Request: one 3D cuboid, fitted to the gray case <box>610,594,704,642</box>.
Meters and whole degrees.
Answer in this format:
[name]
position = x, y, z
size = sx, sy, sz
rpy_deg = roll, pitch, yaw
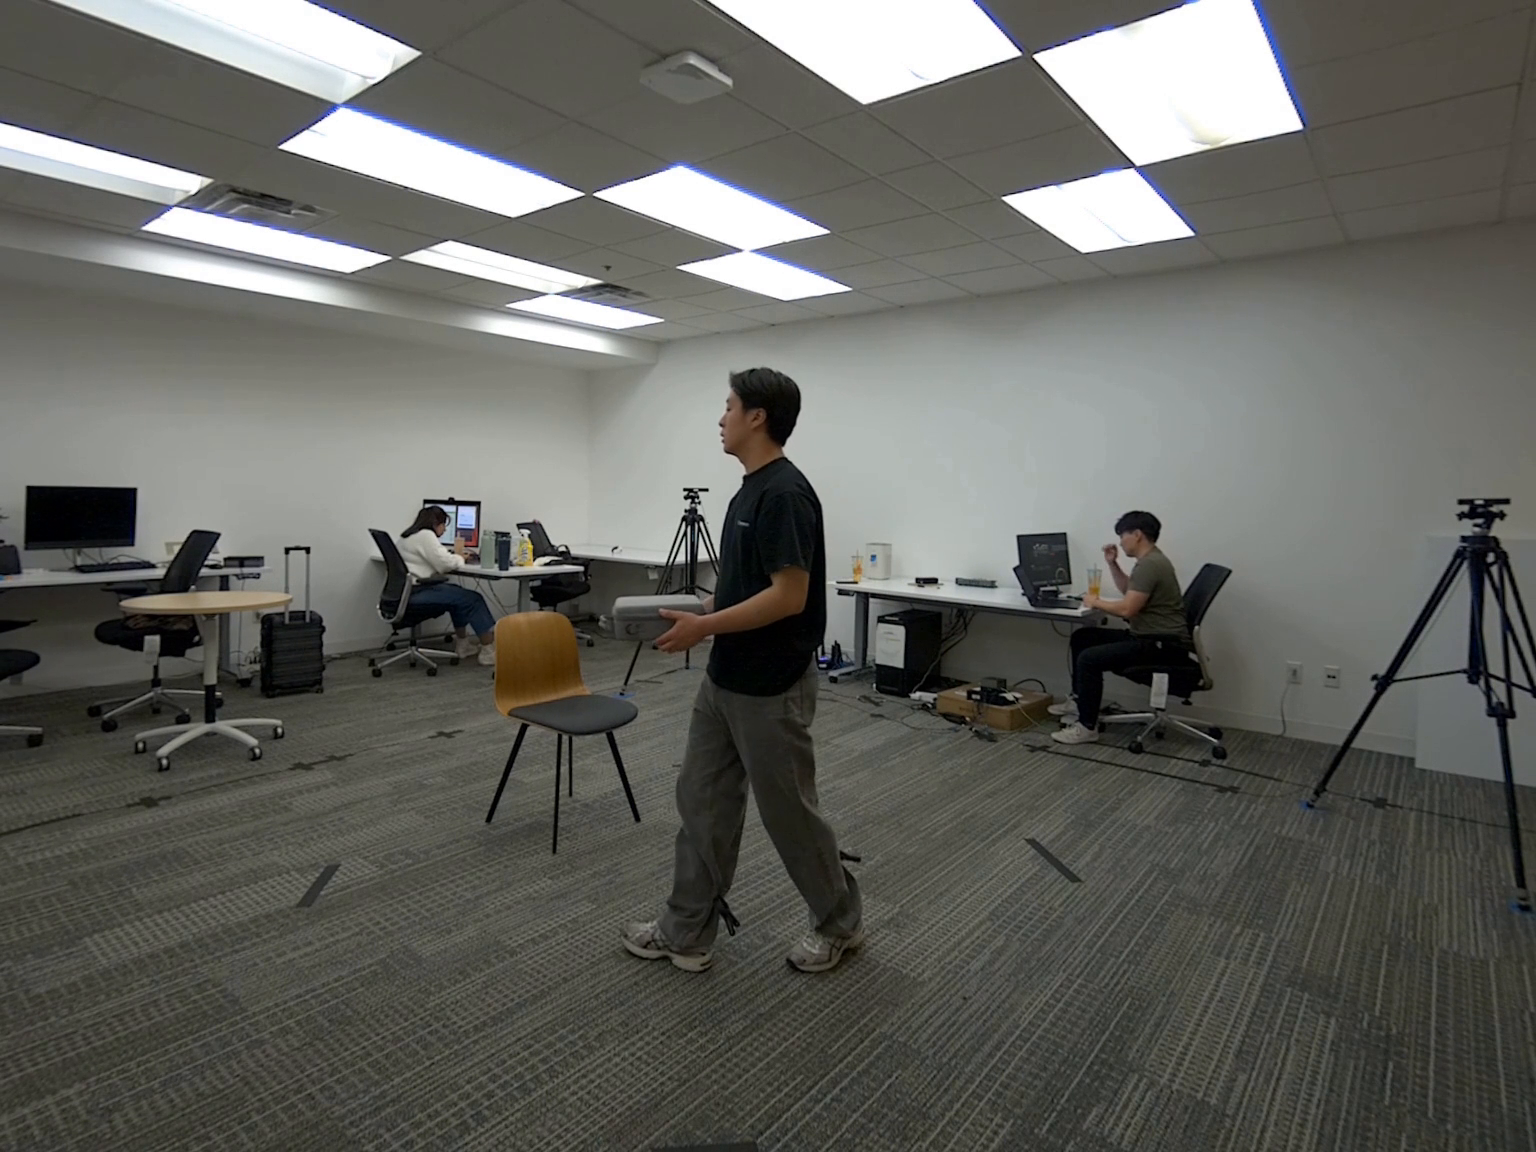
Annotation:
[gray case]
position = -0.343, 0.110, 2.430
size = 0.285, 0.102, 0.266
rpy_deg = -2, 5, -8
